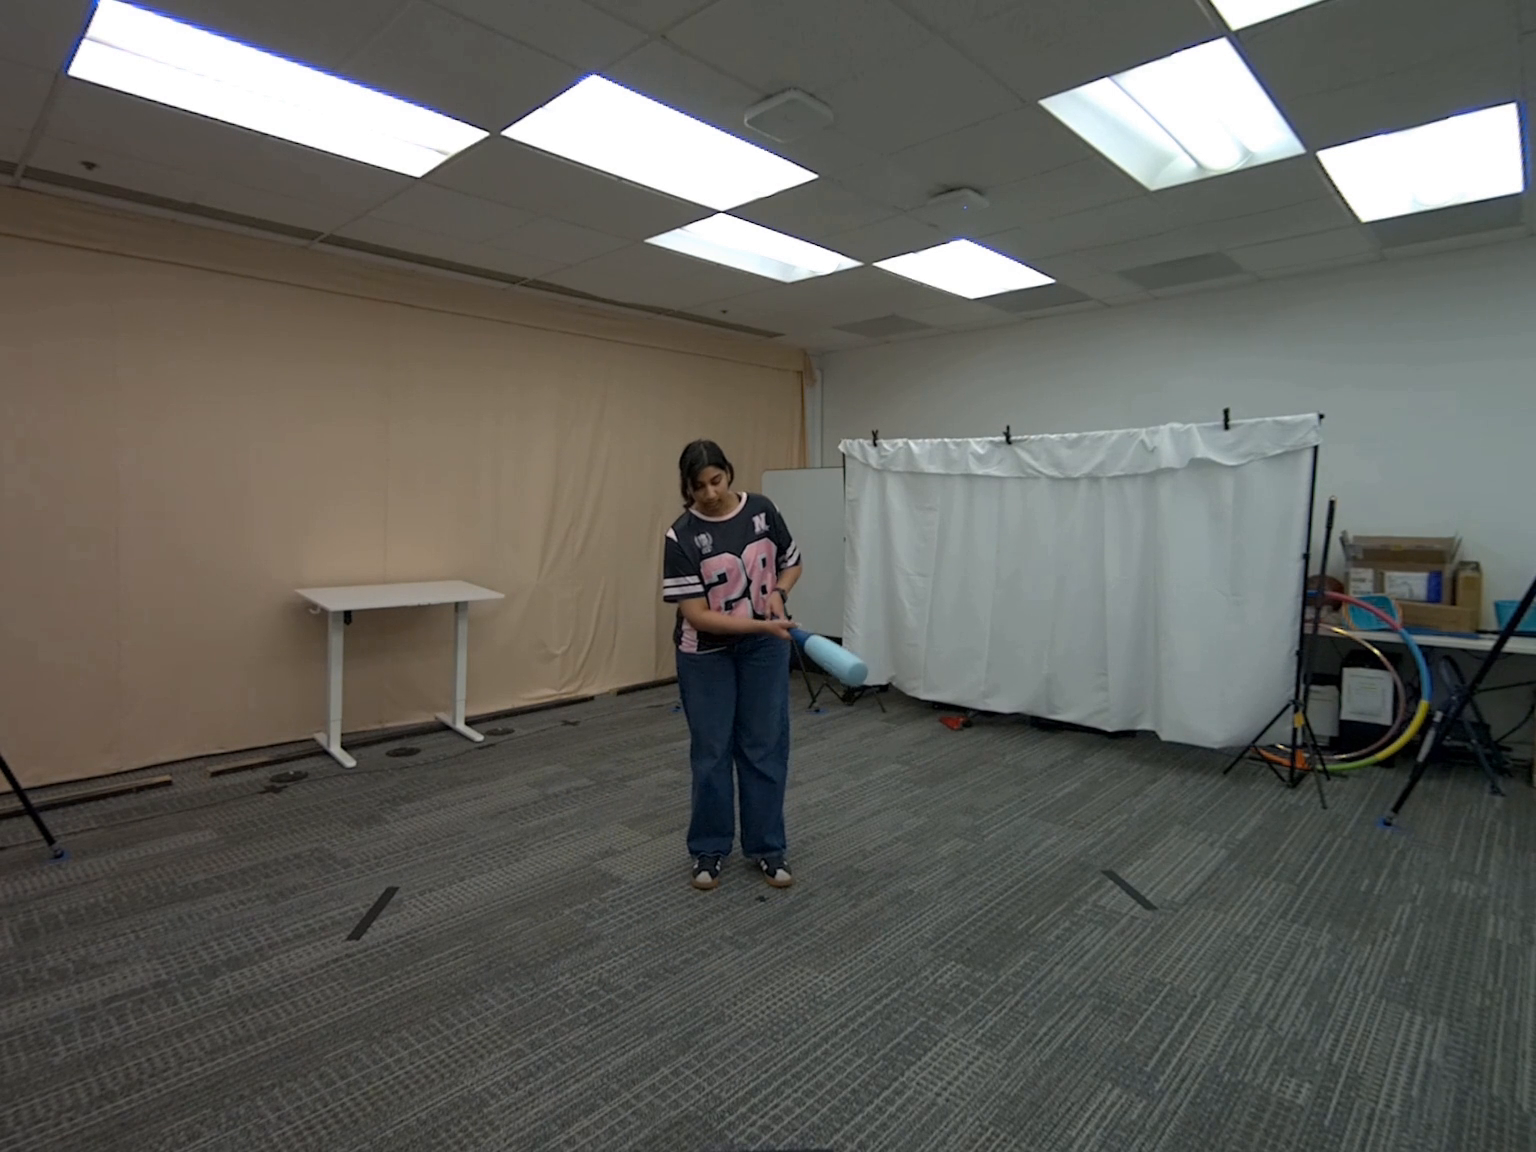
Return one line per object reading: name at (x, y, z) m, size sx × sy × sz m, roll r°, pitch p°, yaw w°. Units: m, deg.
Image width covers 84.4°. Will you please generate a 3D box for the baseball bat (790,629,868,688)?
baseball bat at (0.135, 0.238, 2.766) m, size 0.087 × 0.088 × 0.561 m, roll -2°, pitch 17°, yaw -27°
